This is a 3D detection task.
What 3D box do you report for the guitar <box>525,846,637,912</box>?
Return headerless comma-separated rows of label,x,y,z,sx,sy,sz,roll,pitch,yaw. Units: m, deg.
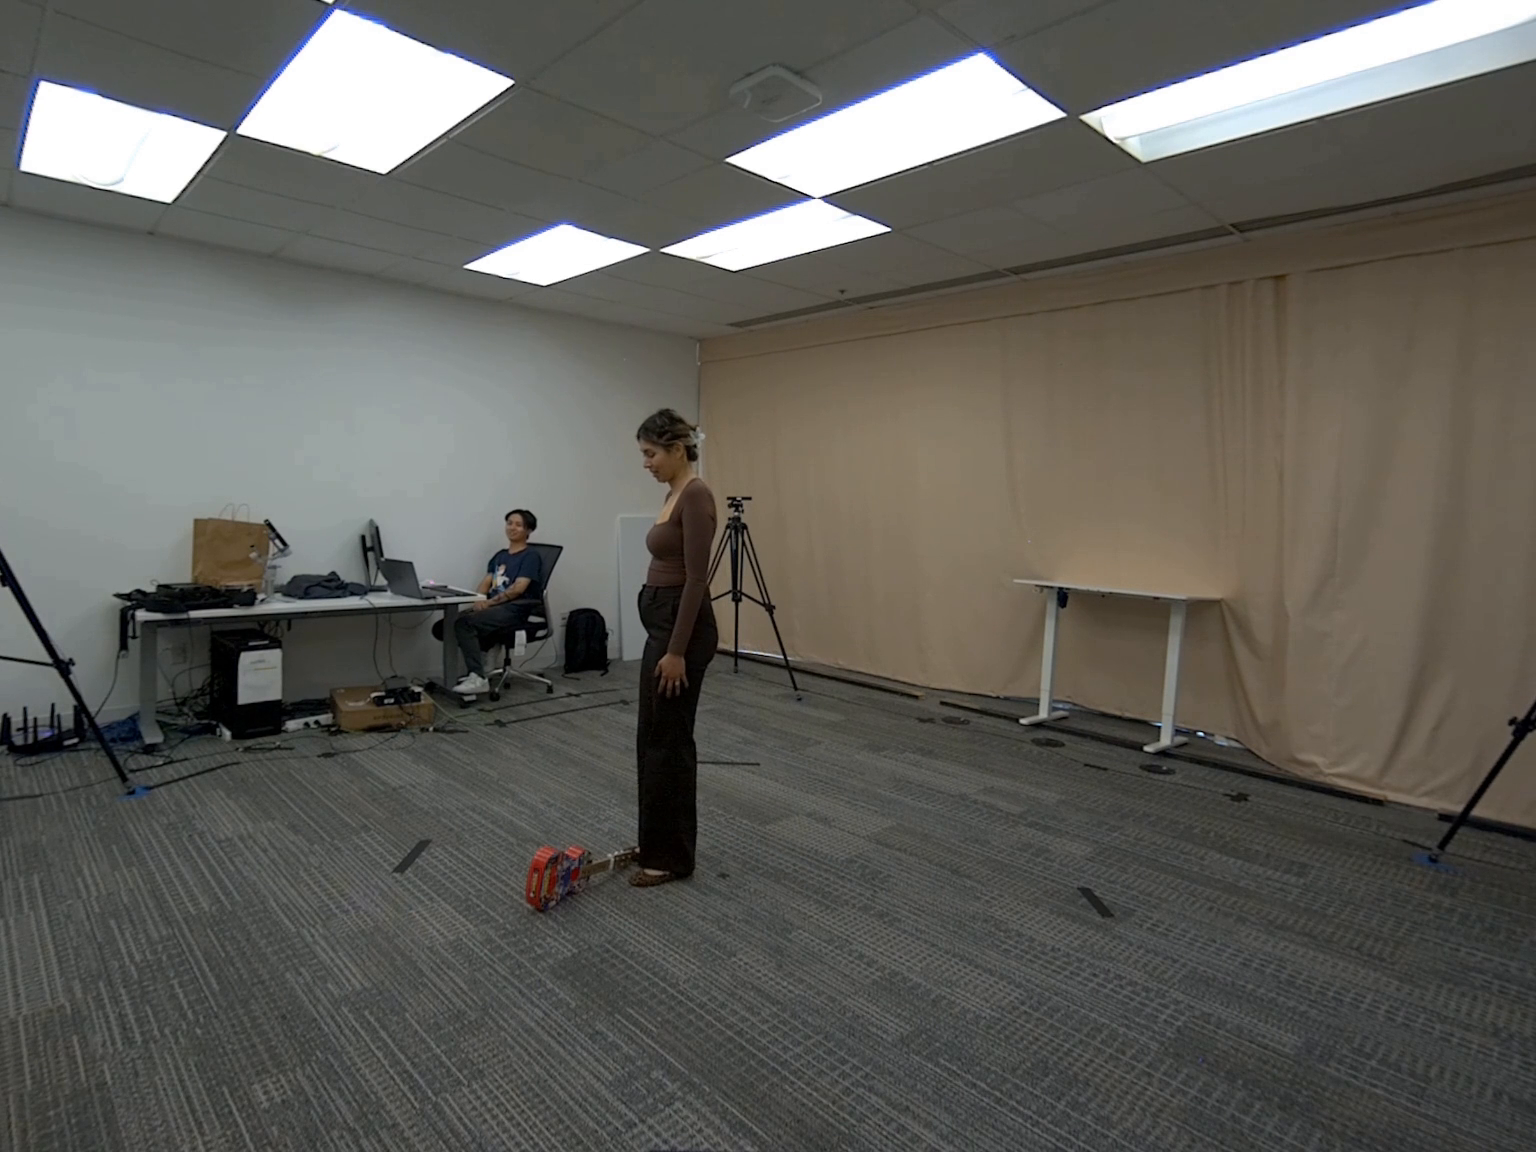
guitar,-0.667,1.064,2.978,0.072,0.194,0.484,6,-12,29
